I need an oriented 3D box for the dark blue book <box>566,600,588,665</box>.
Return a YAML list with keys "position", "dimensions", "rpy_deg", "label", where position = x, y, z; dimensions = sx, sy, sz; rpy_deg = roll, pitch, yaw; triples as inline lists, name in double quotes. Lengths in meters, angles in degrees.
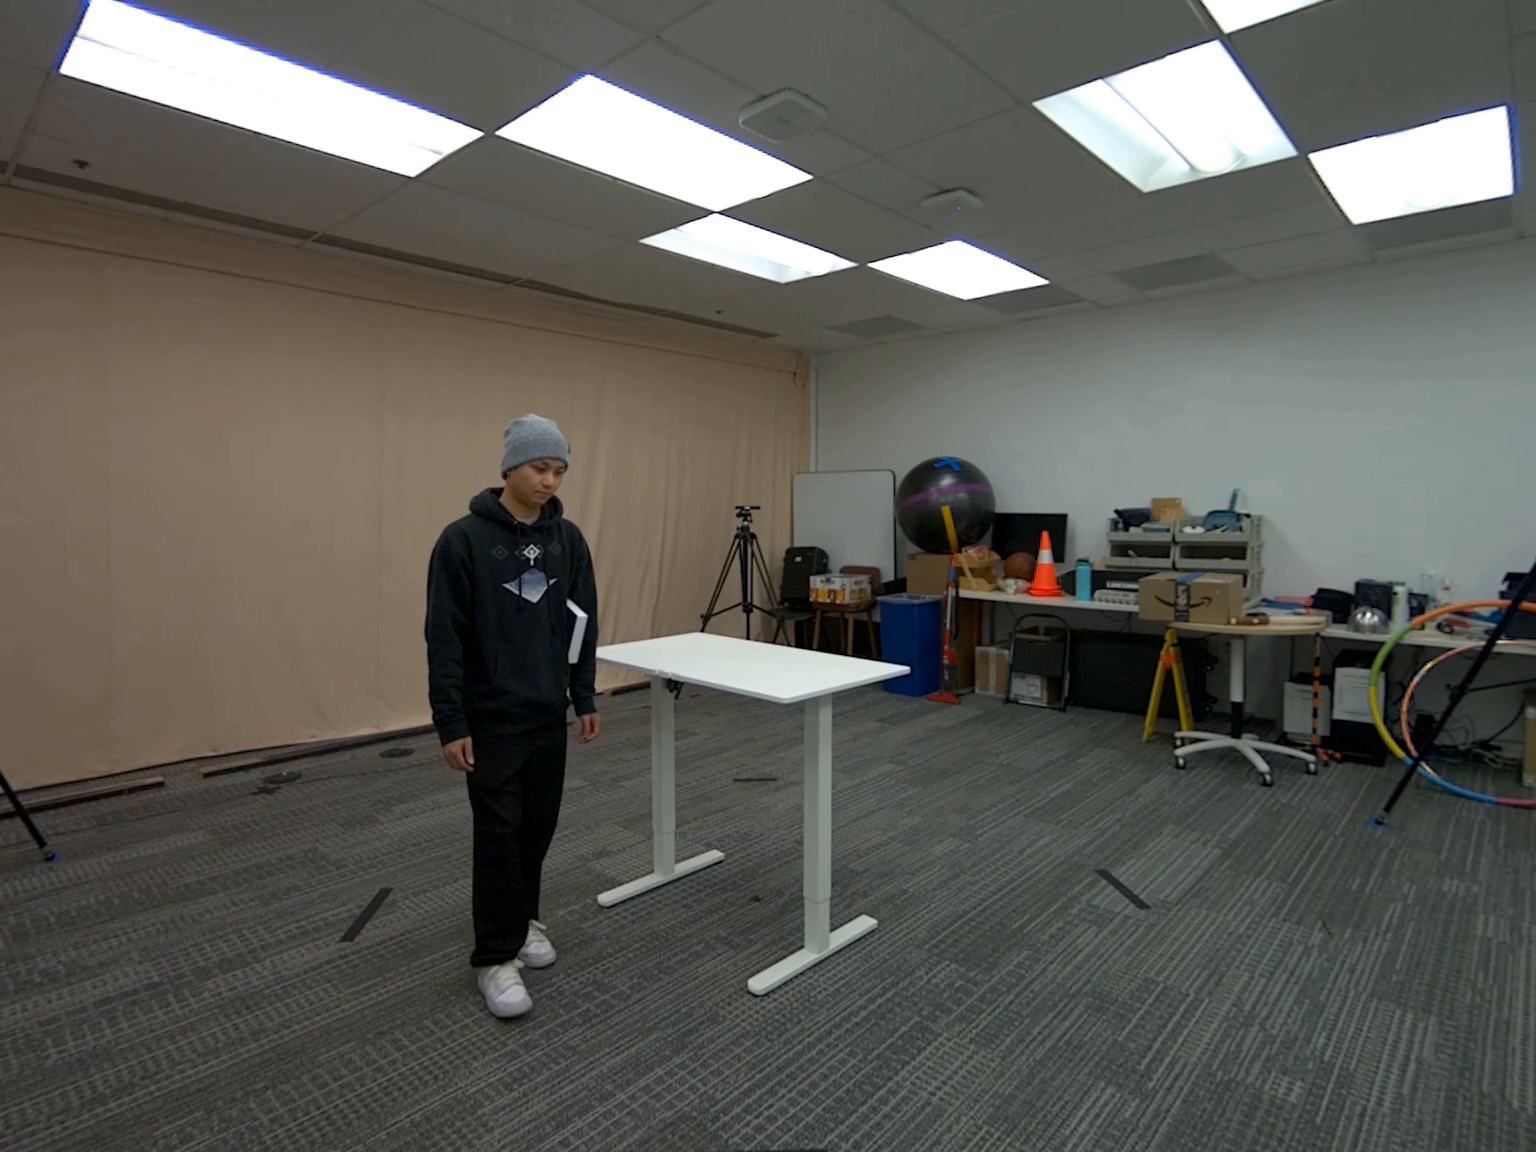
- position: [-0.643, 0.148, 2.622]
  dimensions: [0.044, 0.162, 0.254]
  rpy_deg: [4, 18, -39]
  label: "dark blue book"
